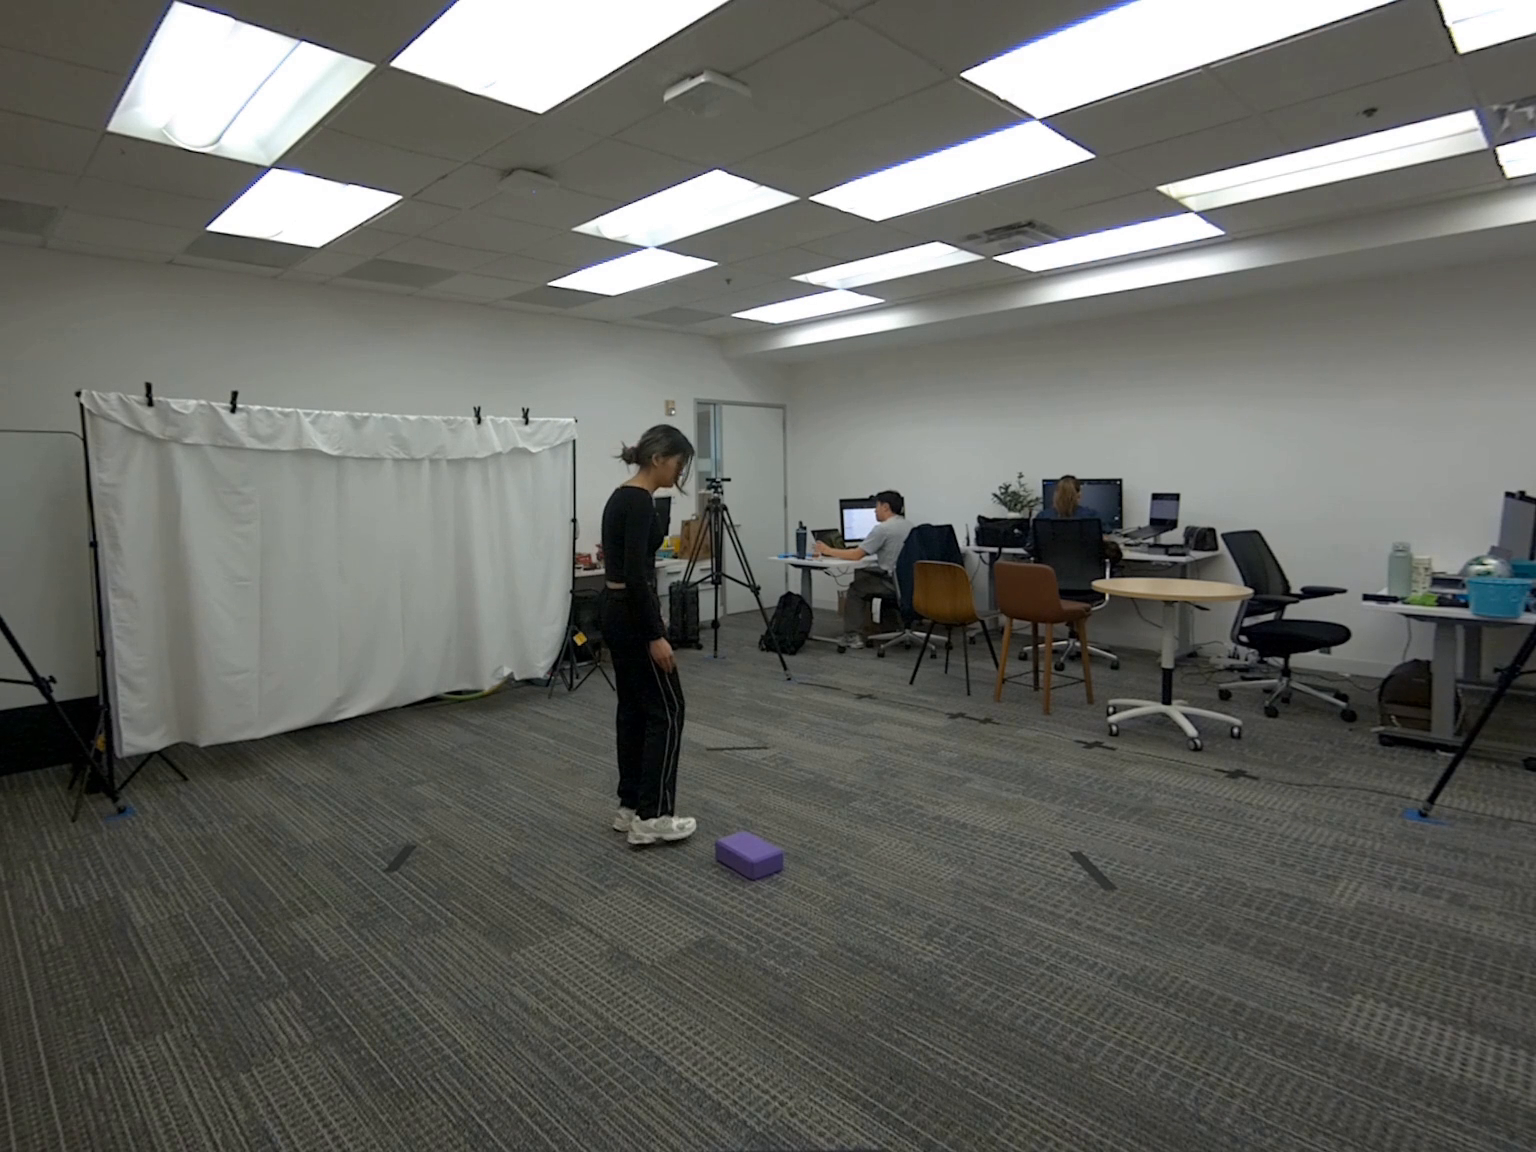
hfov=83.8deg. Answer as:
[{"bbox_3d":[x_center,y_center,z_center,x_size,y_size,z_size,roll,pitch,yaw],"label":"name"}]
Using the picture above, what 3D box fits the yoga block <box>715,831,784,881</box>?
[{"bbox_3d":[-0.065,1.003,3.085,0.145,0.076,0.236,-4,7,-37],"label":"yoga block"}]
